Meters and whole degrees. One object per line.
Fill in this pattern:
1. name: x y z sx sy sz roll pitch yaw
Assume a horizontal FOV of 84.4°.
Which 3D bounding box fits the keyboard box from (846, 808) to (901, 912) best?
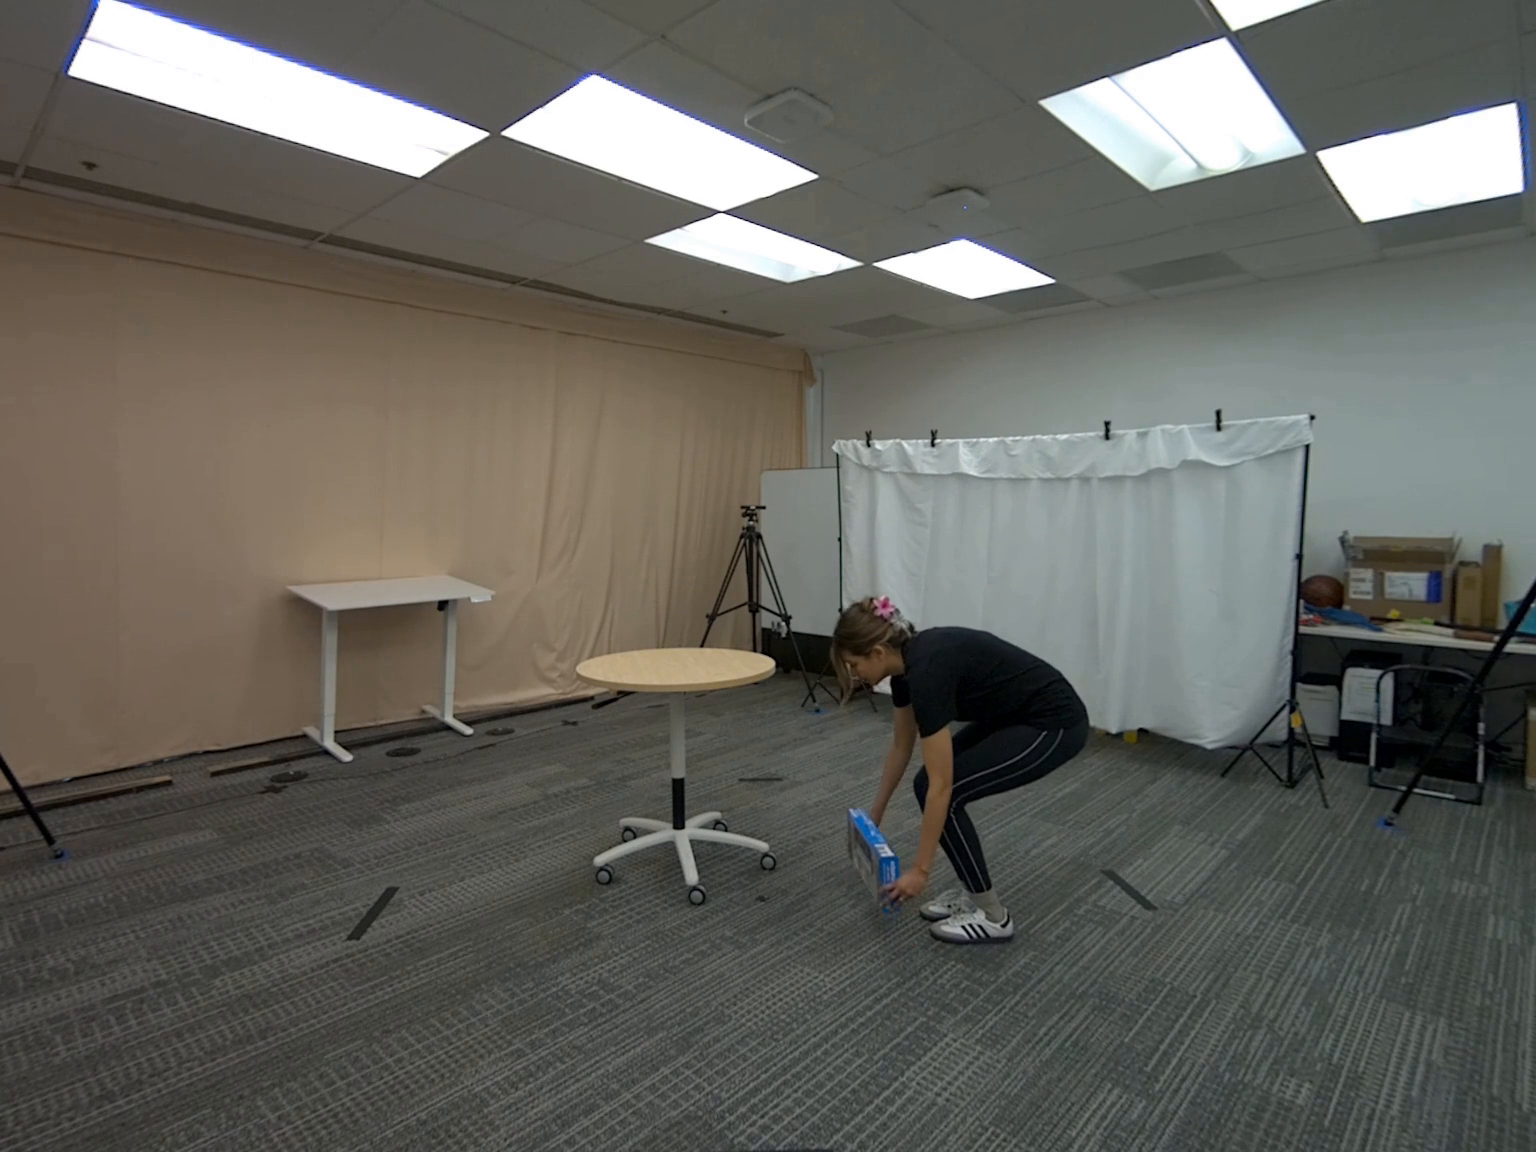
1. keyboard box: 0.339 0.920 2.759 0.059 0.176 0.440 -1 3 -7
